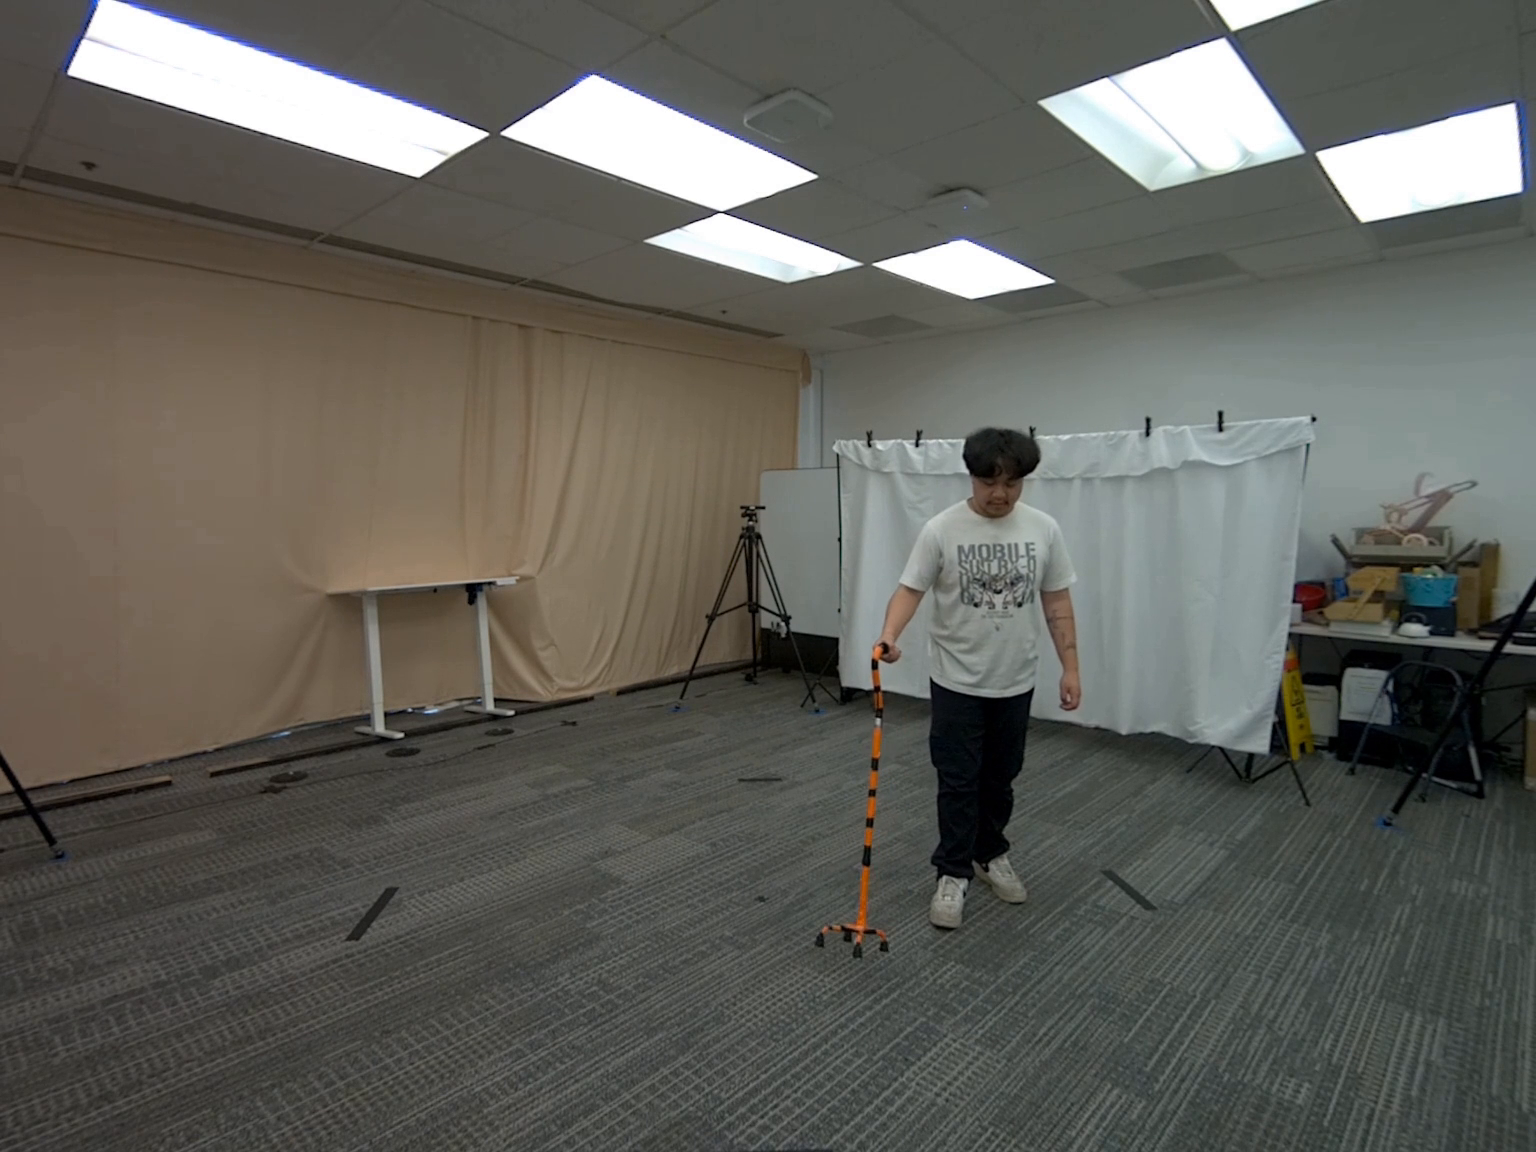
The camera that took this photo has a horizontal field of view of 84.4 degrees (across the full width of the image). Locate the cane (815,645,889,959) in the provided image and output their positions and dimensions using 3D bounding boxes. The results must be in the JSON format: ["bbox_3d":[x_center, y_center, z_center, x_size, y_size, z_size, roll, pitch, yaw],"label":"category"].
[{"bbox_3d":[0.313,0.675,2.593,0.156,0.914,0.199,-3,-15,34],"label":"cane"}]
